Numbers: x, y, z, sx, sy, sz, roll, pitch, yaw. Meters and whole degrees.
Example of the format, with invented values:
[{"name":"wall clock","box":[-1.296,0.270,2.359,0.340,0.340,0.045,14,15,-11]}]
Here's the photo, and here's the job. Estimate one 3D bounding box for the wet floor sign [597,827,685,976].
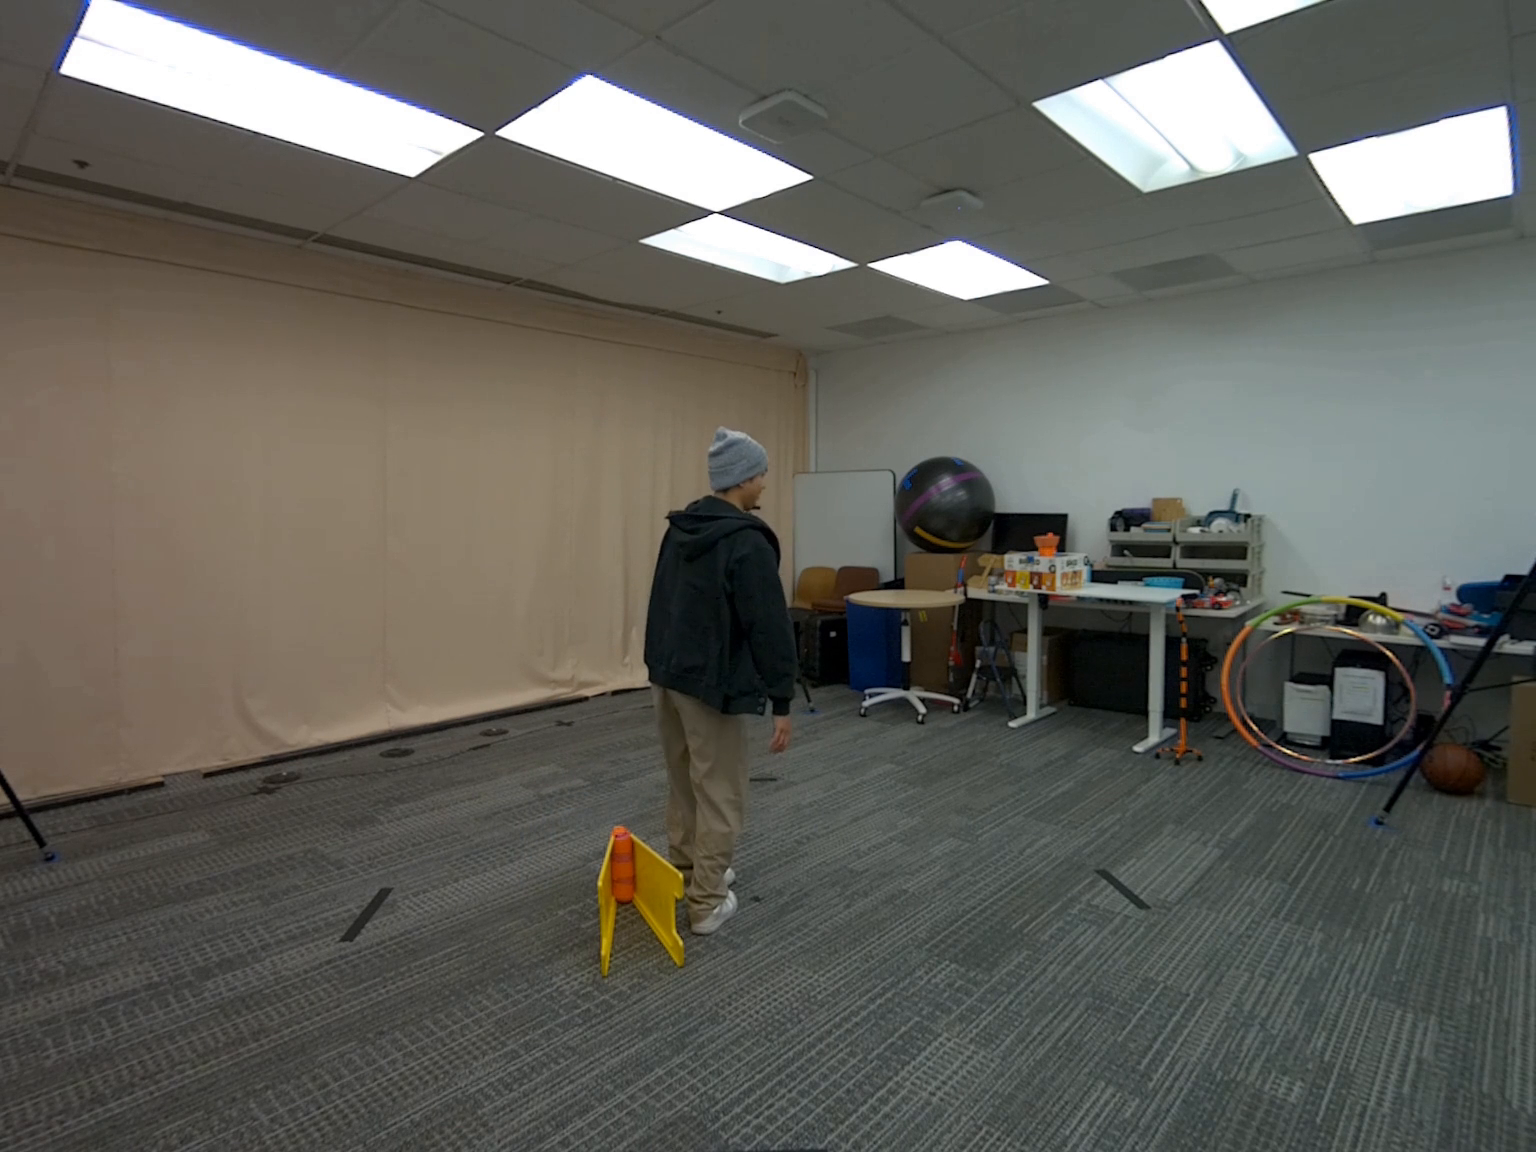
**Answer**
[{"name":"wet floor sign","box":[-0.474,1.038,2.822,0.285,0.282,0.656,-2,1,-16]}]
